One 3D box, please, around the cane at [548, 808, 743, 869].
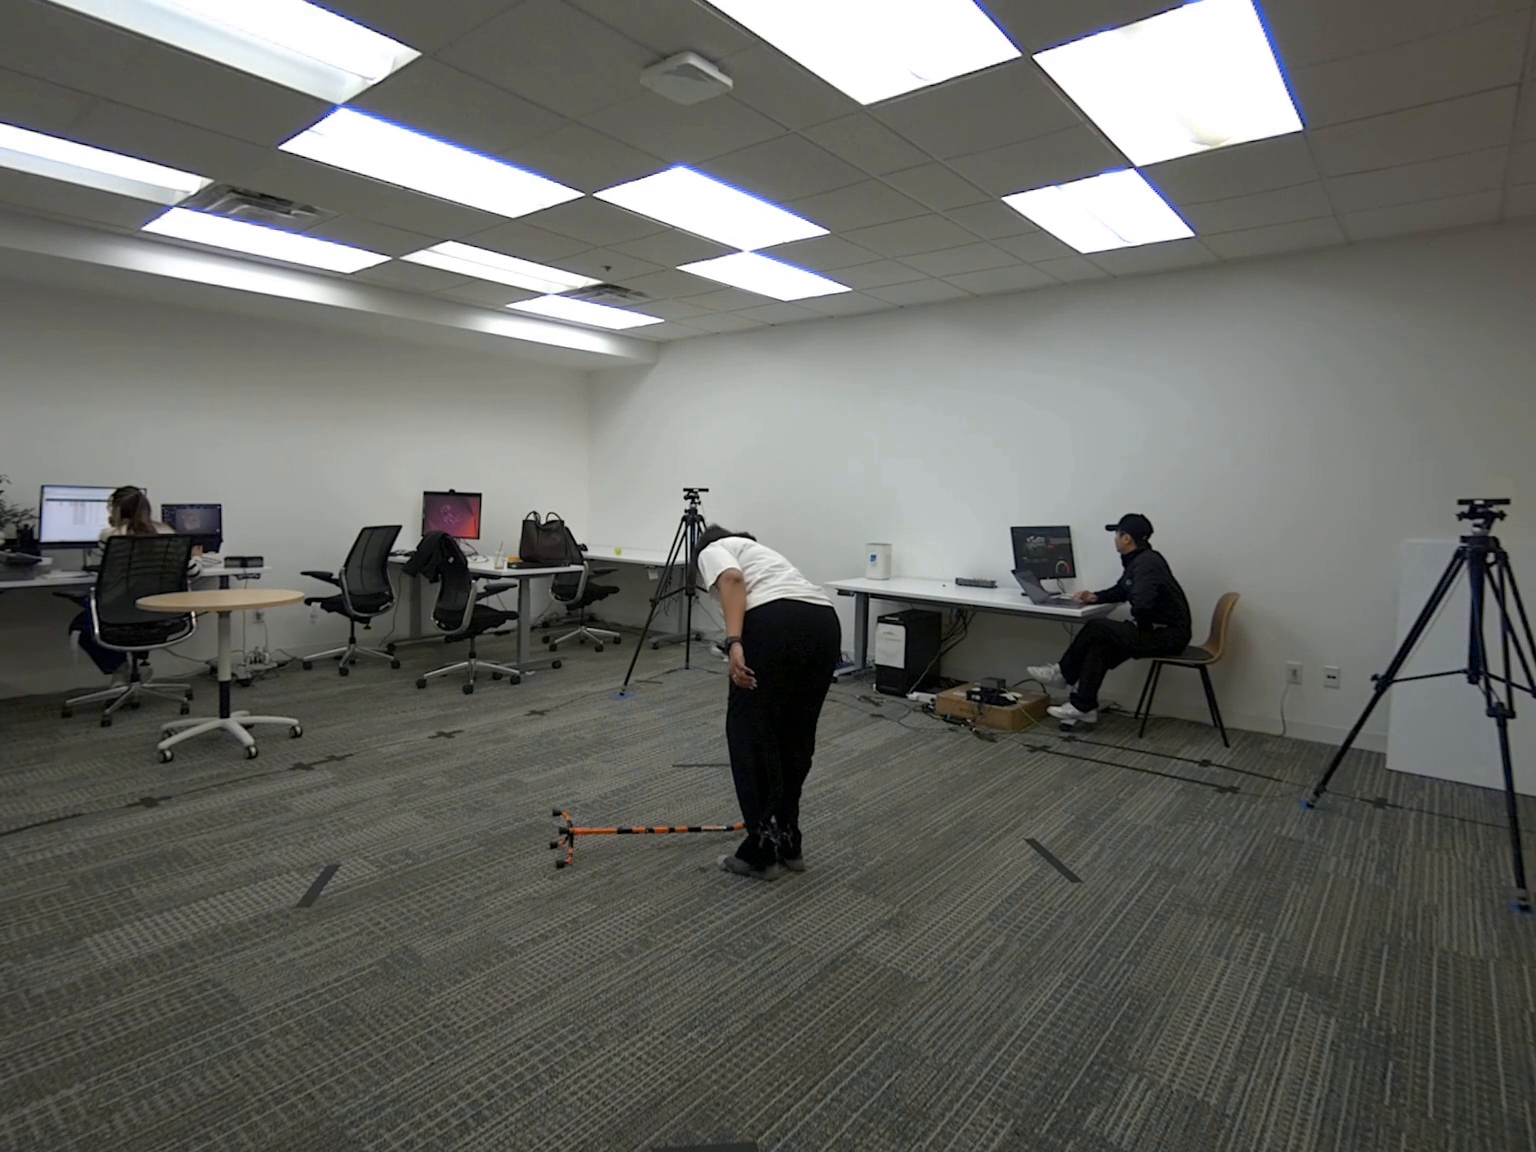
[{"bbox_3d":[-0.395,0.999,3.323,0.889,0.151,0.211,5,2,-20],"label":"cane"}]
